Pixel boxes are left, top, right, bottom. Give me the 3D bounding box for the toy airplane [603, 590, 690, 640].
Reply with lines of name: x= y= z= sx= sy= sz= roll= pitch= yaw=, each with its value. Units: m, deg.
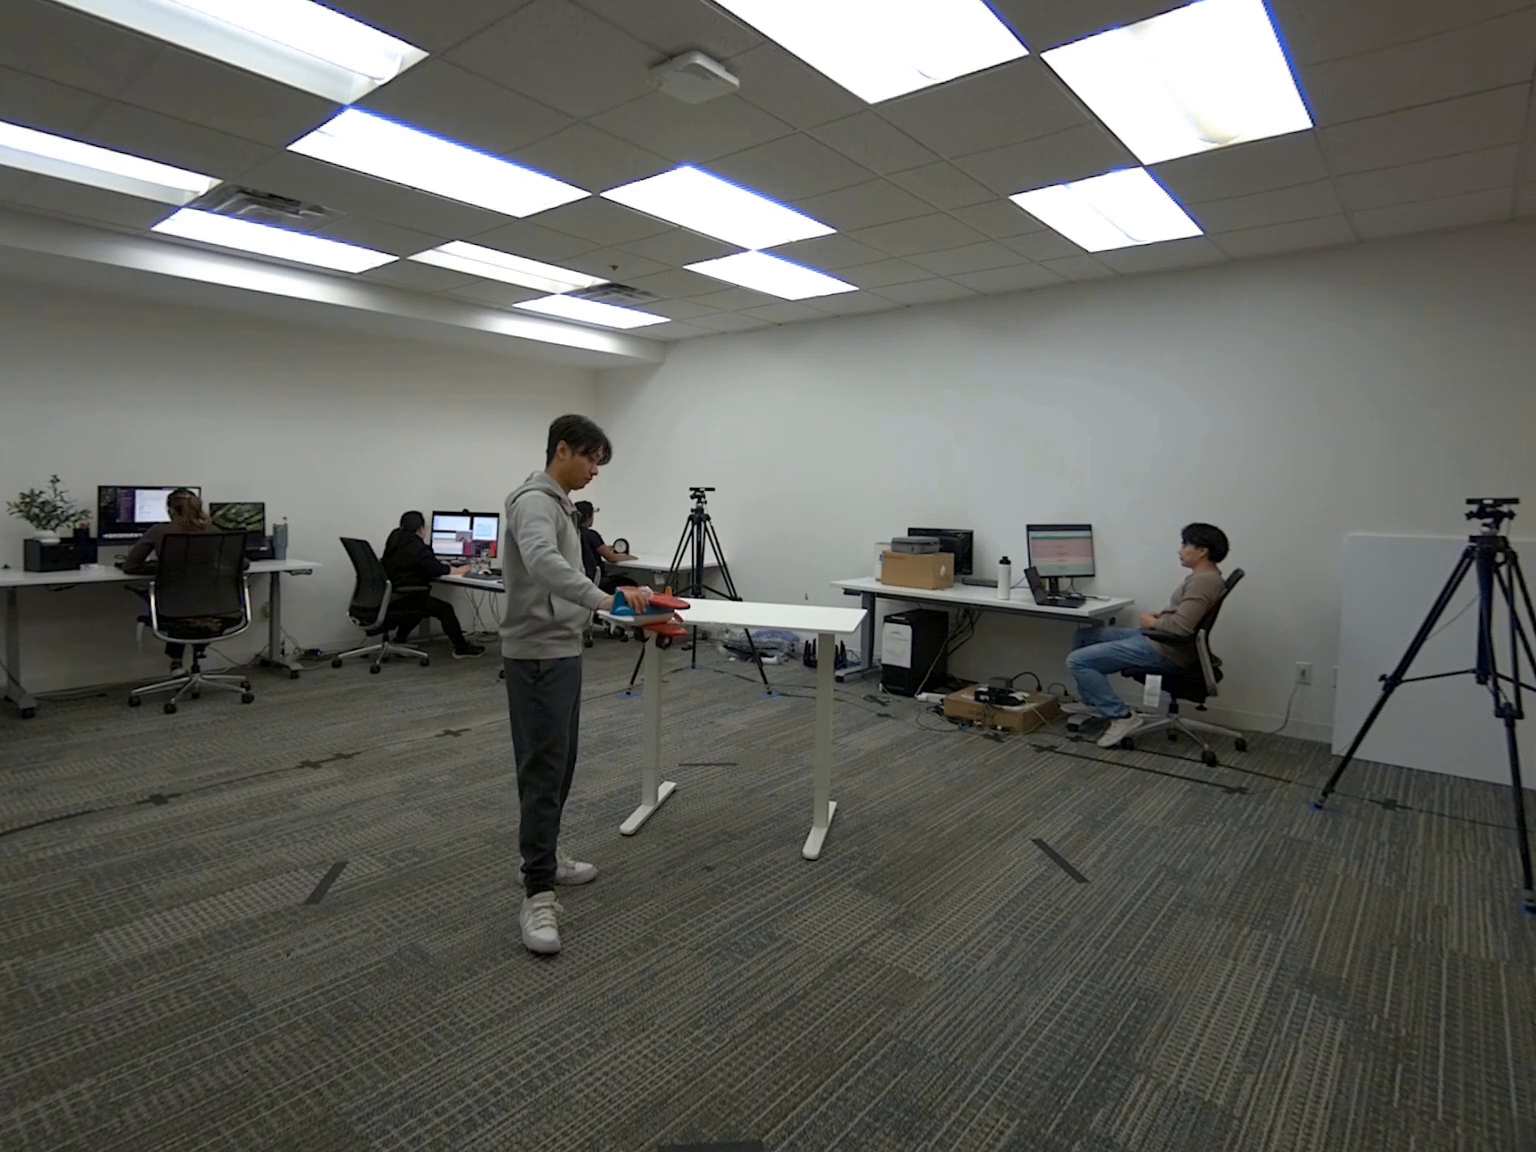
toy airplane: x=-0.362 y=0.107 z=2.432 sx=0.253 sy=0.157 sz=0.256 roll=15 pitch=-6 yaw=5
